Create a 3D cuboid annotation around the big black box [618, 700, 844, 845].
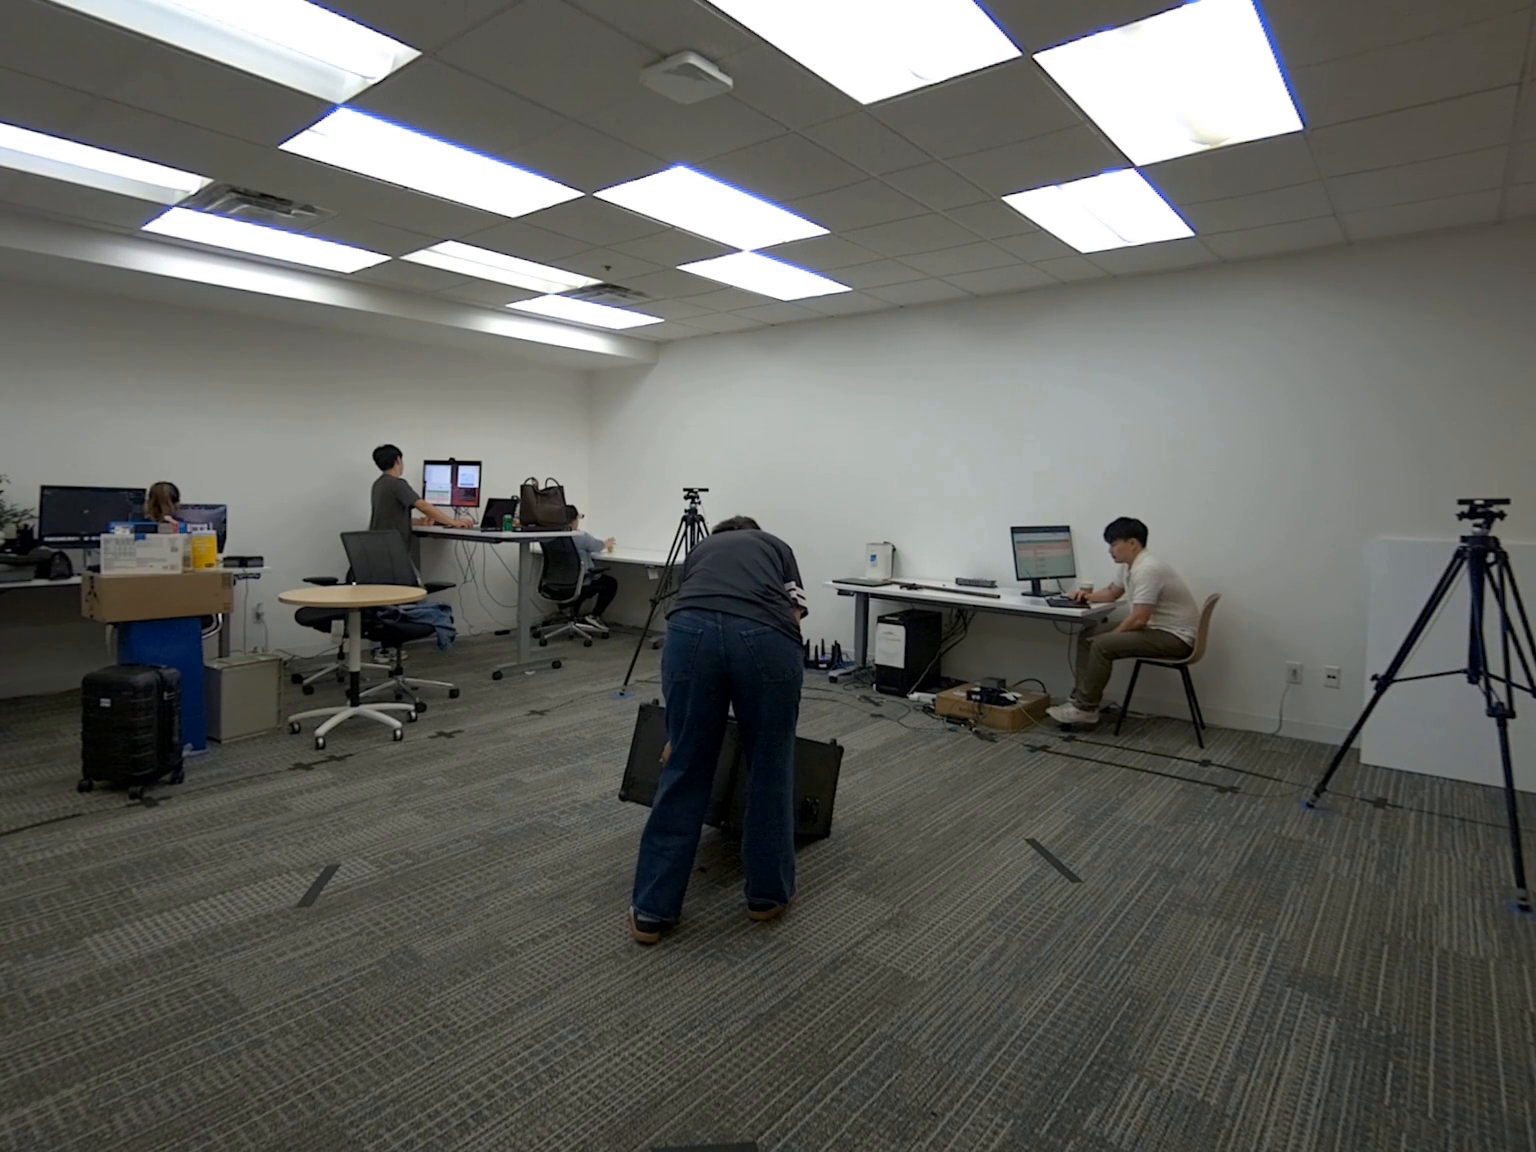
[{"bbox_3d":[-0.112,0.766,3.342,0.540,0.389,0.834,2,-15,34],"label":"big black box"}]
